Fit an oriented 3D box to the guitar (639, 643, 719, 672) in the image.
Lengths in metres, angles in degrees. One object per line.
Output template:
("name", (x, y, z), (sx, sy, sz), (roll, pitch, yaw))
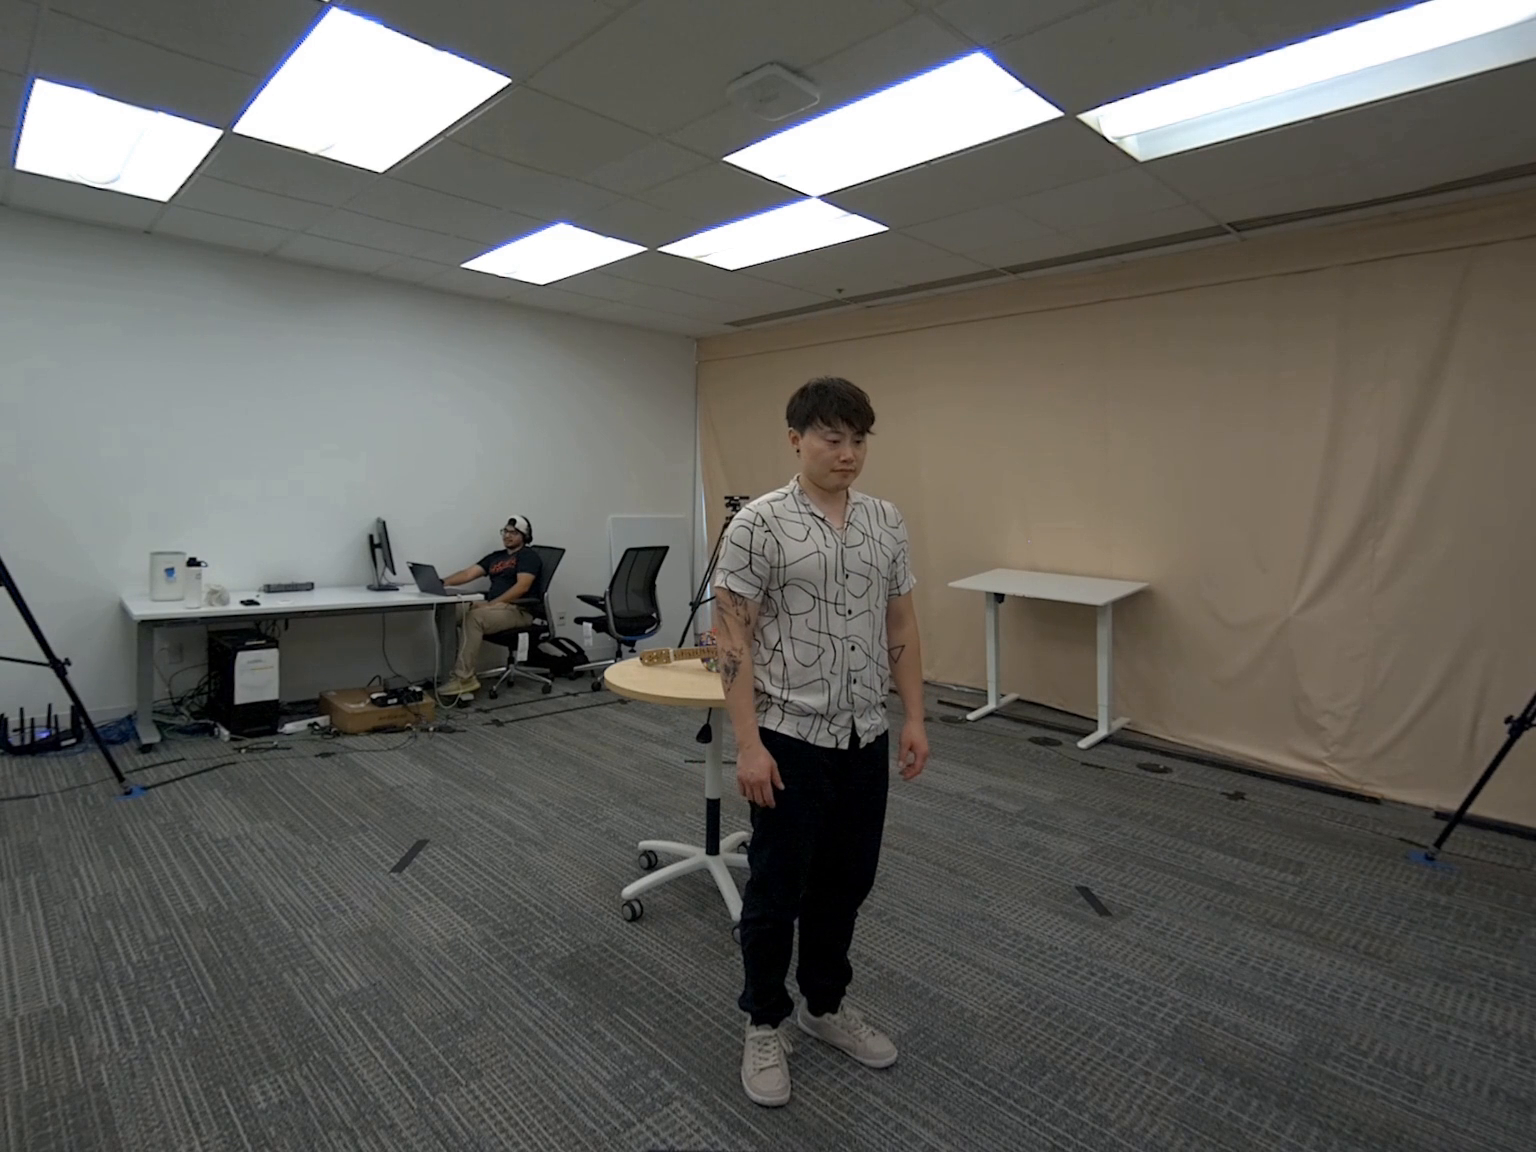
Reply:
("guitar", (-0.223, 0.240, 2.945), (0.505, 0.192, 0.070), (2, 5, 18))
